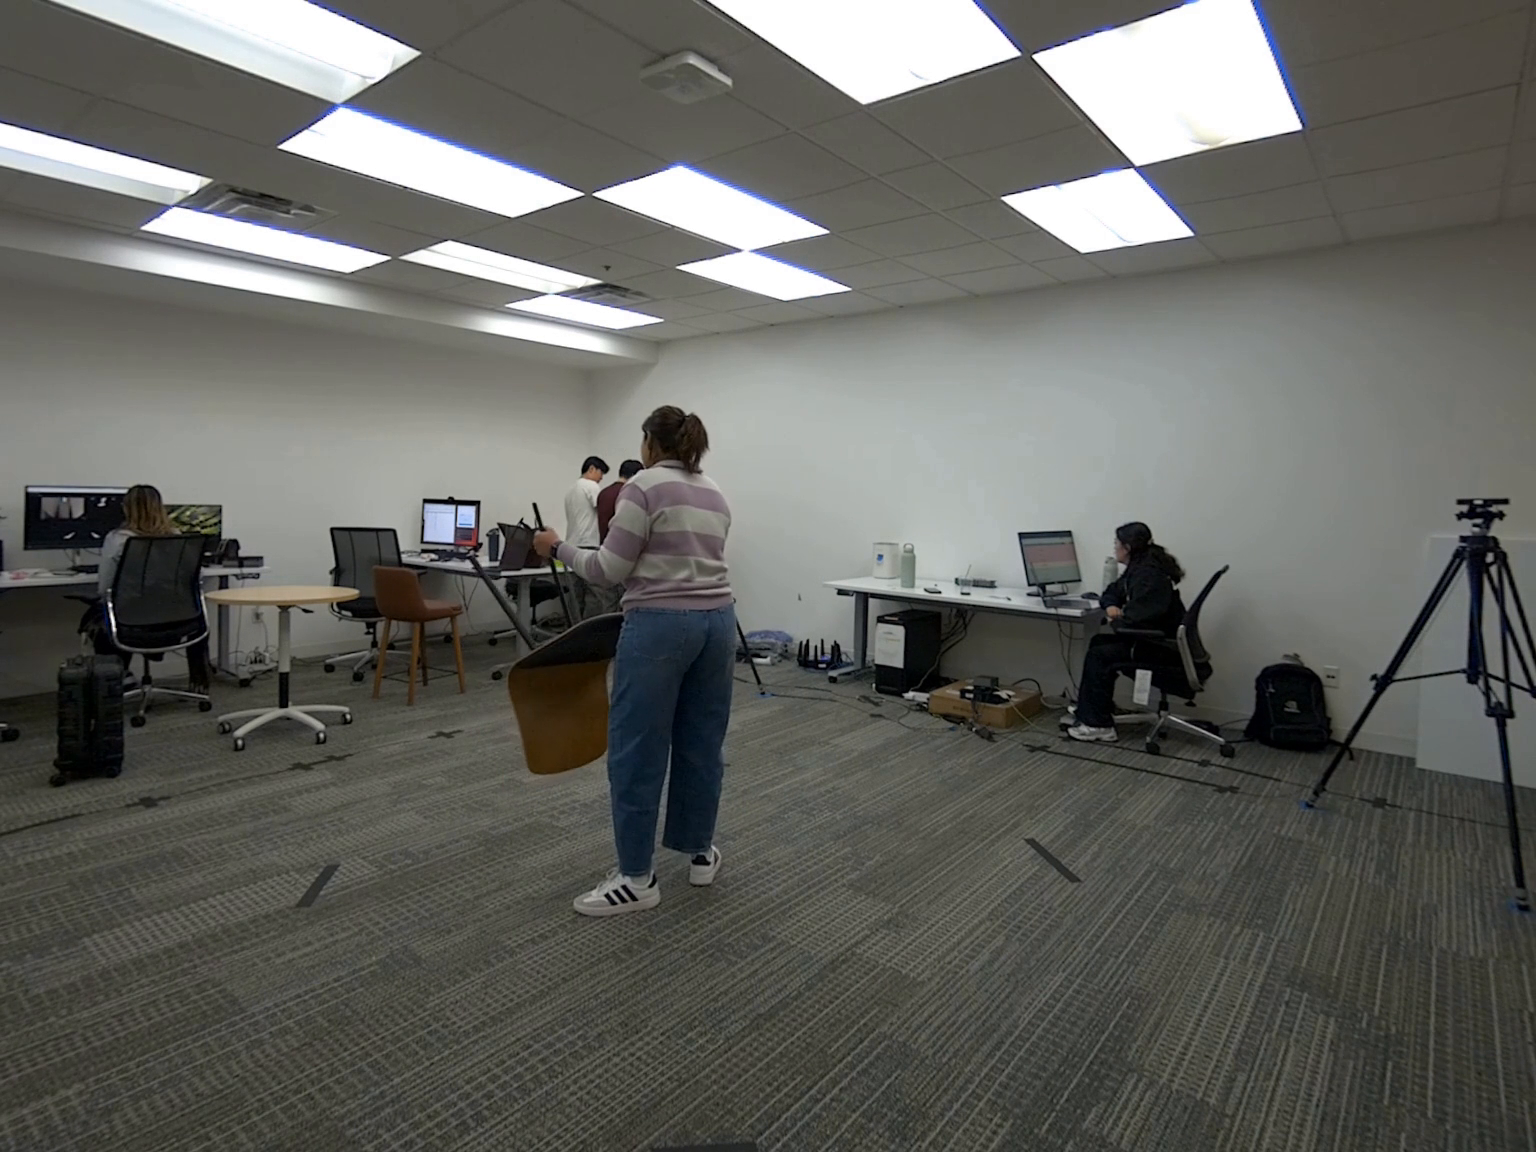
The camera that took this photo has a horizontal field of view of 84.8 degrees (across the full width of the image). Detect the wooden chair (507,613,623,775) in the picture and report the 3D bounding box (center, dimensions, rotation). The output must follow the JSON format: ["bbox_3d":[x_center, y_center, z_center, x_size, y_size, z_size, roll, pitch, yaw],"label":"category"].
[{"bbox_3d":[-0.684,0.226,3.081,0.531,0.894,0.463,-27,-18,37],"label":"wooden chair"}]
